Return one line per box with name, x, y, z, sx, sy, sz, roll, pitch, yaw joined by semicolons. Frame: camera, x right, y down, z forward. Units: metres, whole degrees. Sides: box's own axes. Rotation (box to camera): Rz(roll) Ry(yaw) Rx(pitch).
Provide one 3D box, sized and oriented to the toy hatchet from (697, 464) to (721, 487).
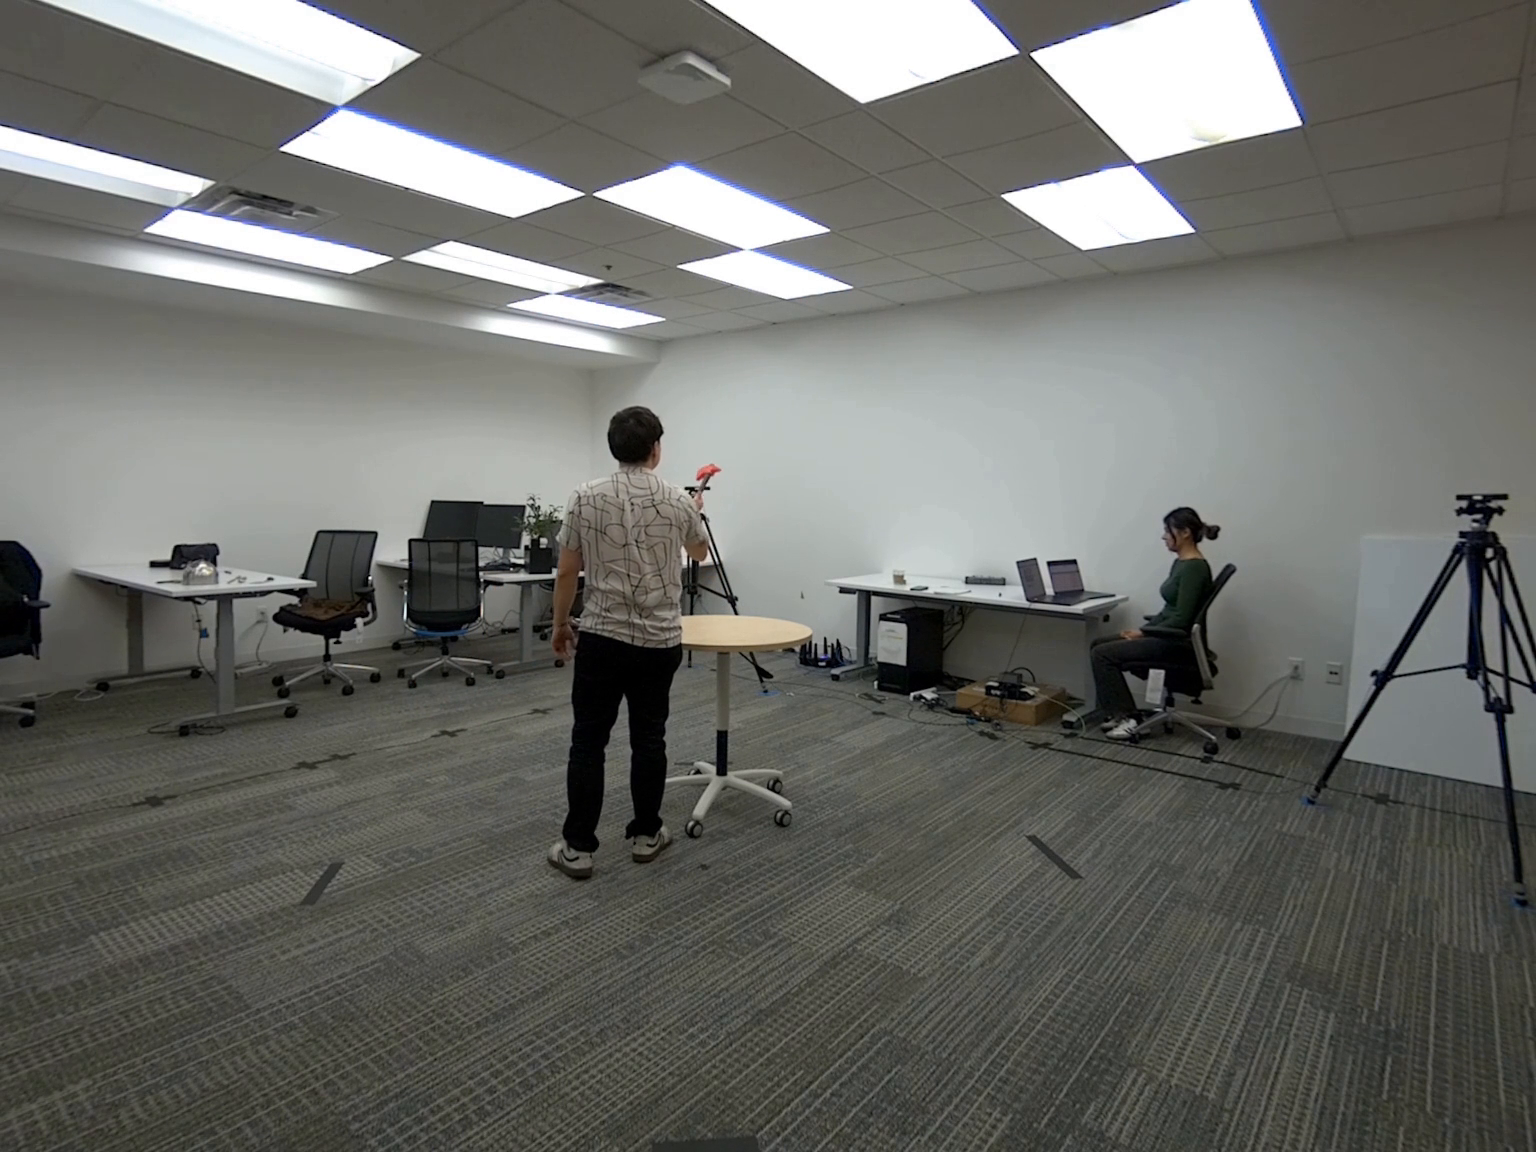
toy hatchet;-0.331;-0.379;3.654;0.136;0.270;0.028;28;-13;46
